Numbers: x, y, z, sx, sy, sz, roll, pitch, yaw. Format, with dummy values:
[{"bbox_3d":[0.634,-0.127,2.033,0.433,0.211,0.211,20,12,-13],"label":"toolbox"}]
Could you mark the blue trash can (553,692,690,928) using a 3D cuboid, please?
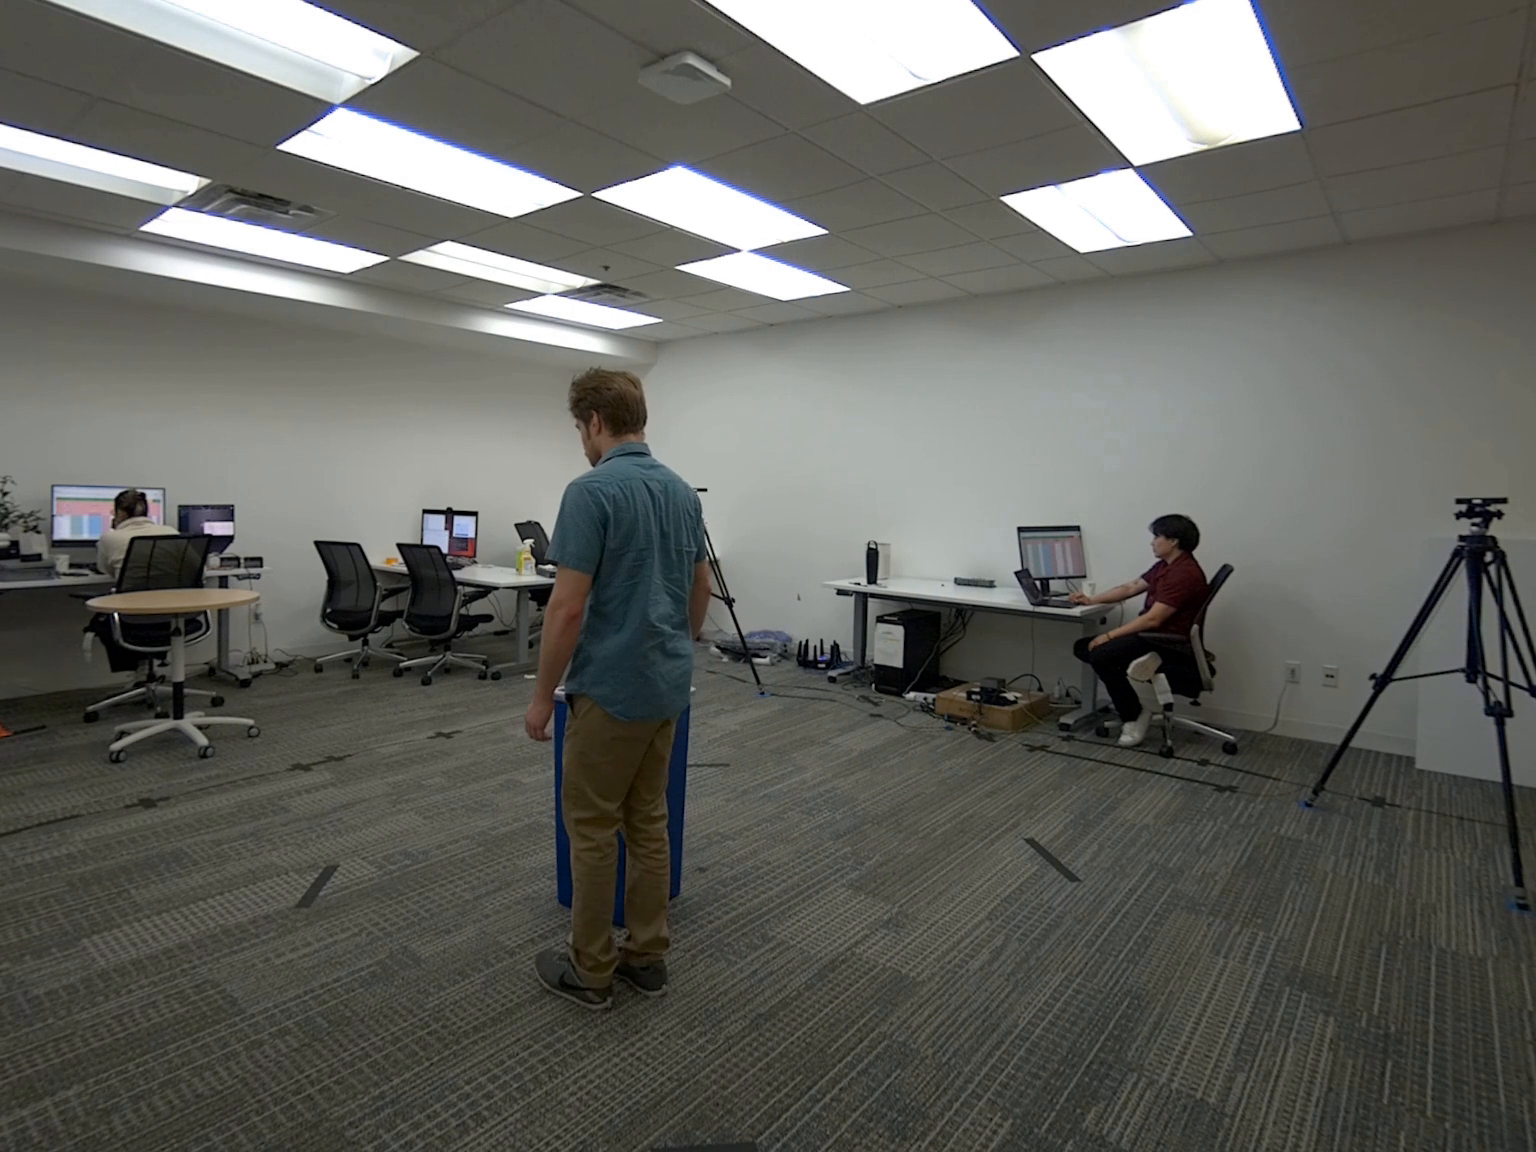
[{"bbox_3d":[-0.497,0.728,2.869,0.390,0.711,0.364,4,4,32],"label":"blue trash can"}]
